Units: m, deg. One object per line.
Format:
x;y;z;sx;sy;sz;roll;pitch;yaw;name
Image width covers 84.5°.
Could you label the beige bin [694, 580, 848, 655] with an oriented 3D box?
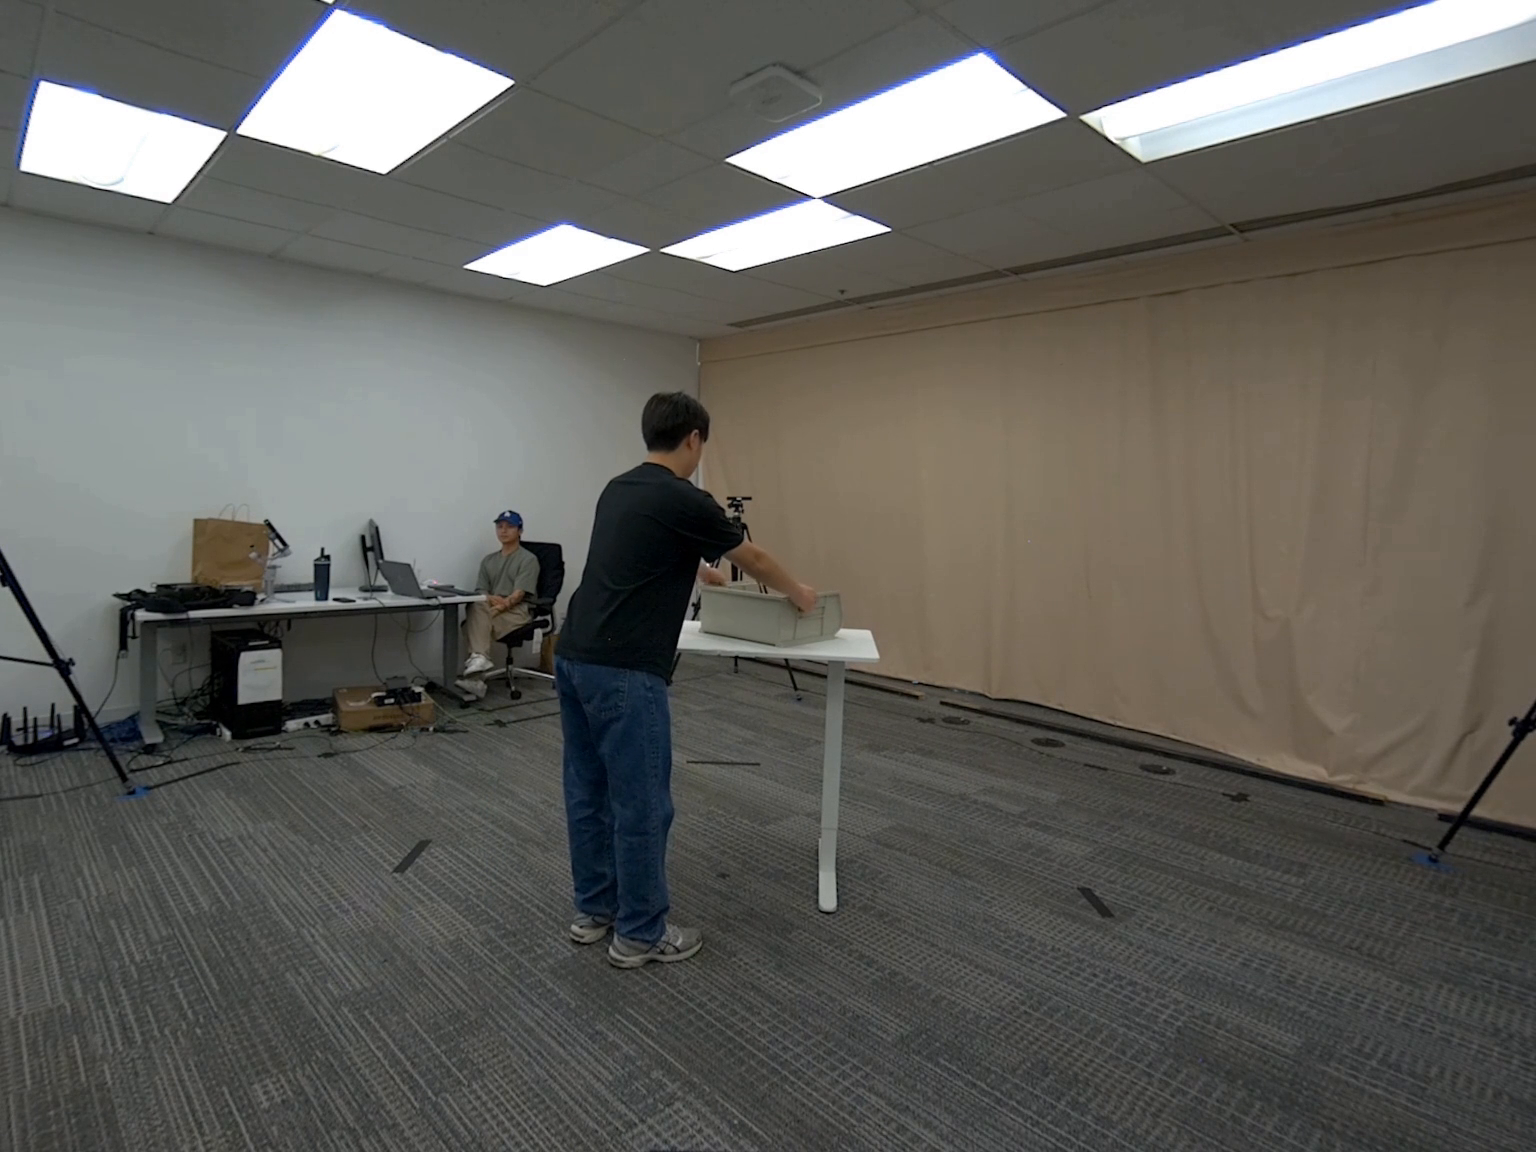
0.009;0.138;3.155;0.433;0.188;0.369;6;8;41;beige bin
